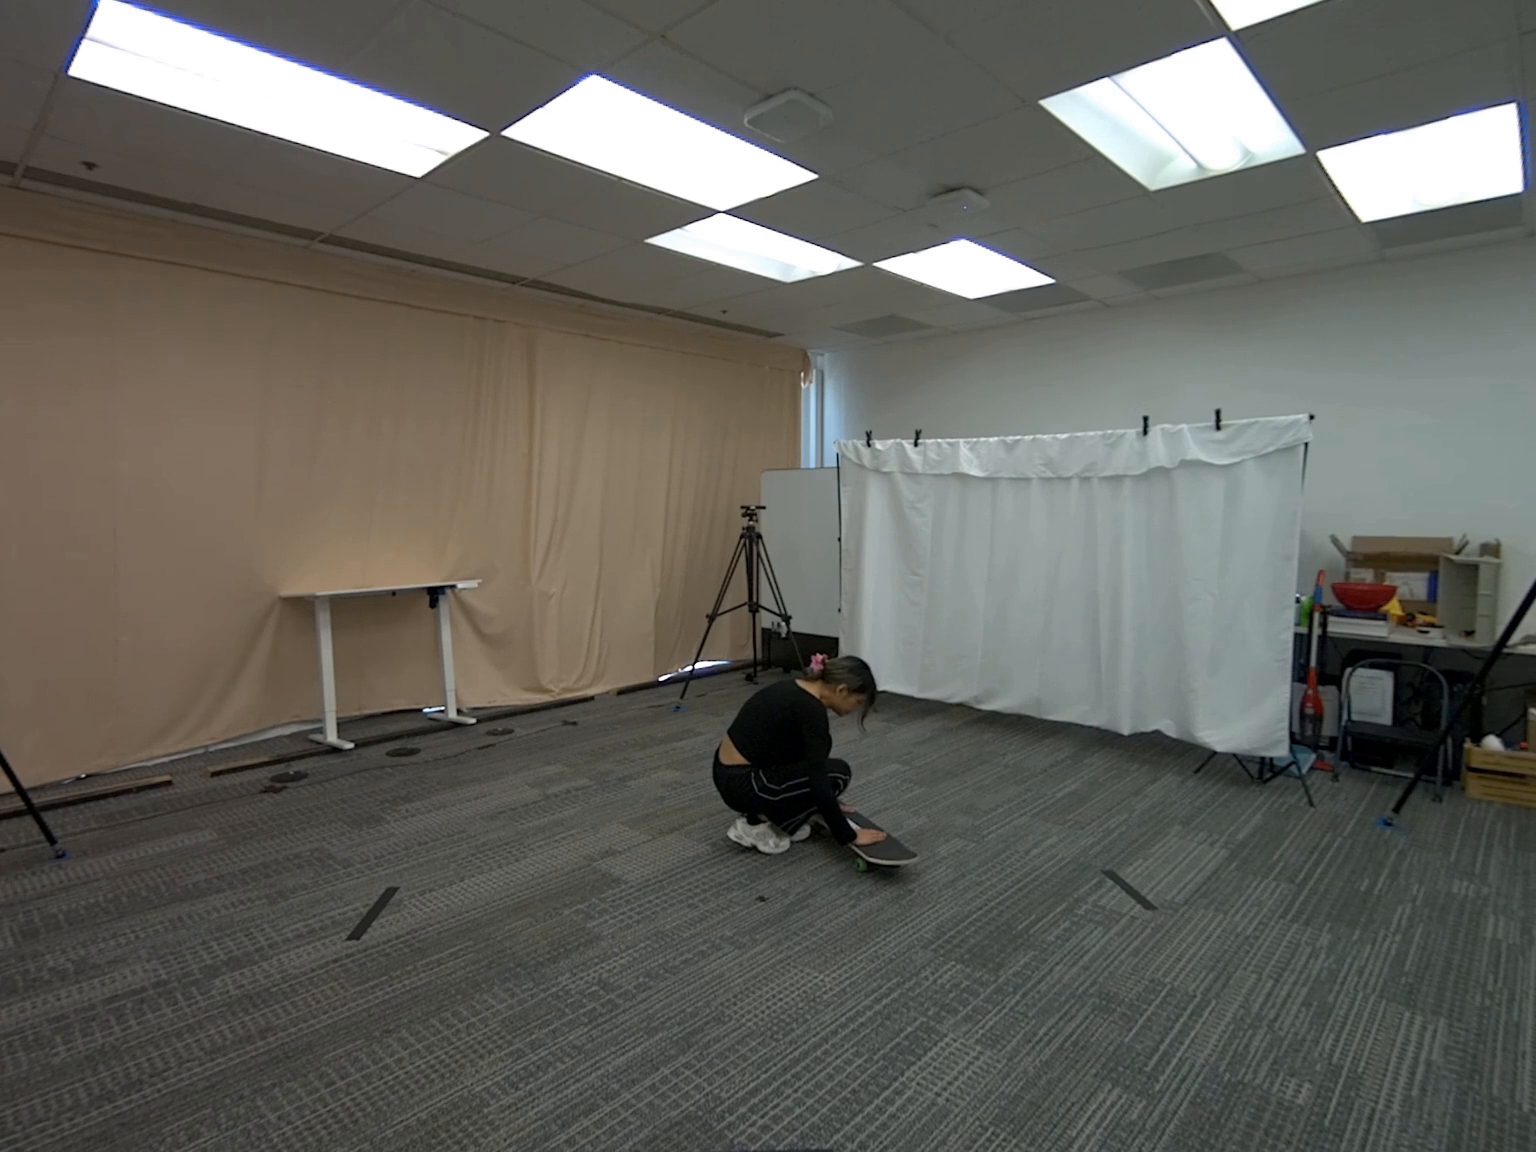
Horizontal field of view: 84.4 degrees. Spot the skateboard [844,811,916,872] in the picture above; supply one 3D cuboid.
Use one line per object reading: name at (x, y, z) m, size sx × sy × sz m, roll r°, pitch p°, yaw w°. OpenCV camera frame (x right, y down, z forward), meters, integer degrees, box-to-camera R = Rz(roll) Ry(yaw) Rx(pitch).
skateboard at (0.355, 1.051, 3.408) m, size 0.189 × 0.110 × 0.803 m, roll -2°, pitch 5°, yaw -22°
